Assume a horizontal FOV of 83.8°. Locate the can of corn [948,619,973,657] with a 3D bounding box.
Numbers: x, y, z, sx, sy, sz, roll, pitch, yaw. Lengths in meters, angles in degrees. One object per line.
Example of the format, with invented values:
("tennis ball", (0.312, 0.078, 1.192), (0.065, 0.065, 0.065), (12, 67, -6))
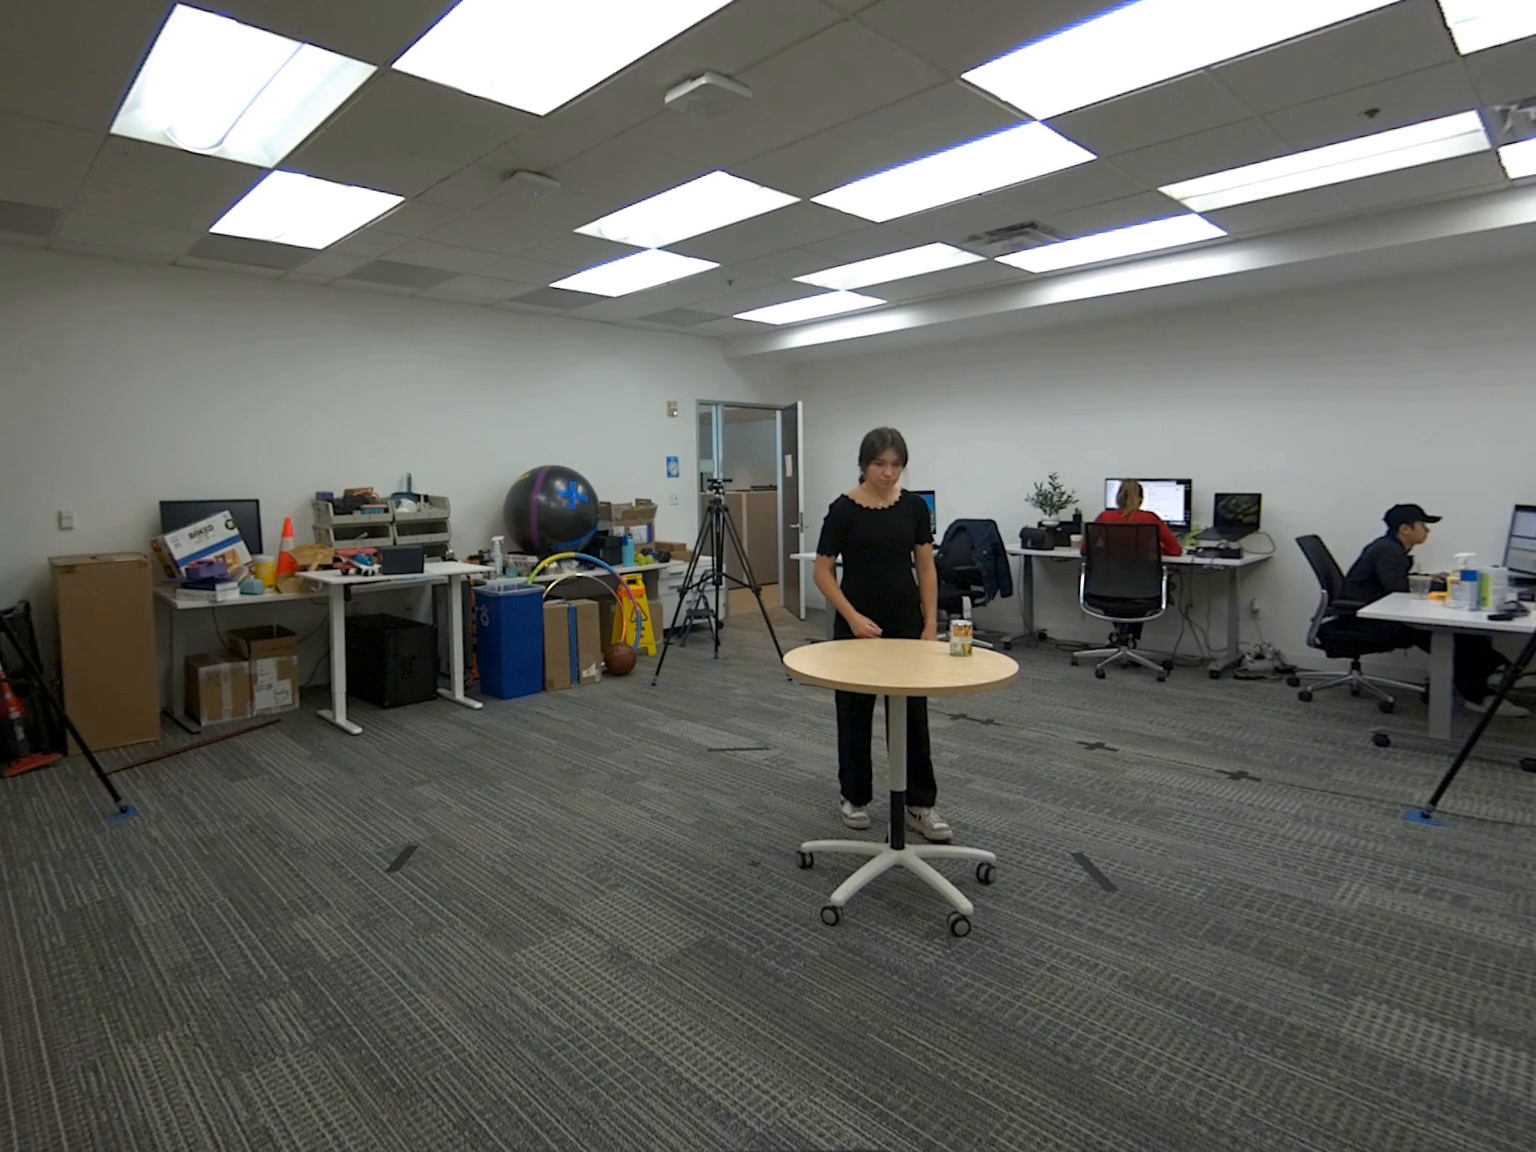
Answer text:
("can of corn", (0.660, 0.215, 2.937), (0.074, 0.110, 0.074), (-1, 4, -2))
